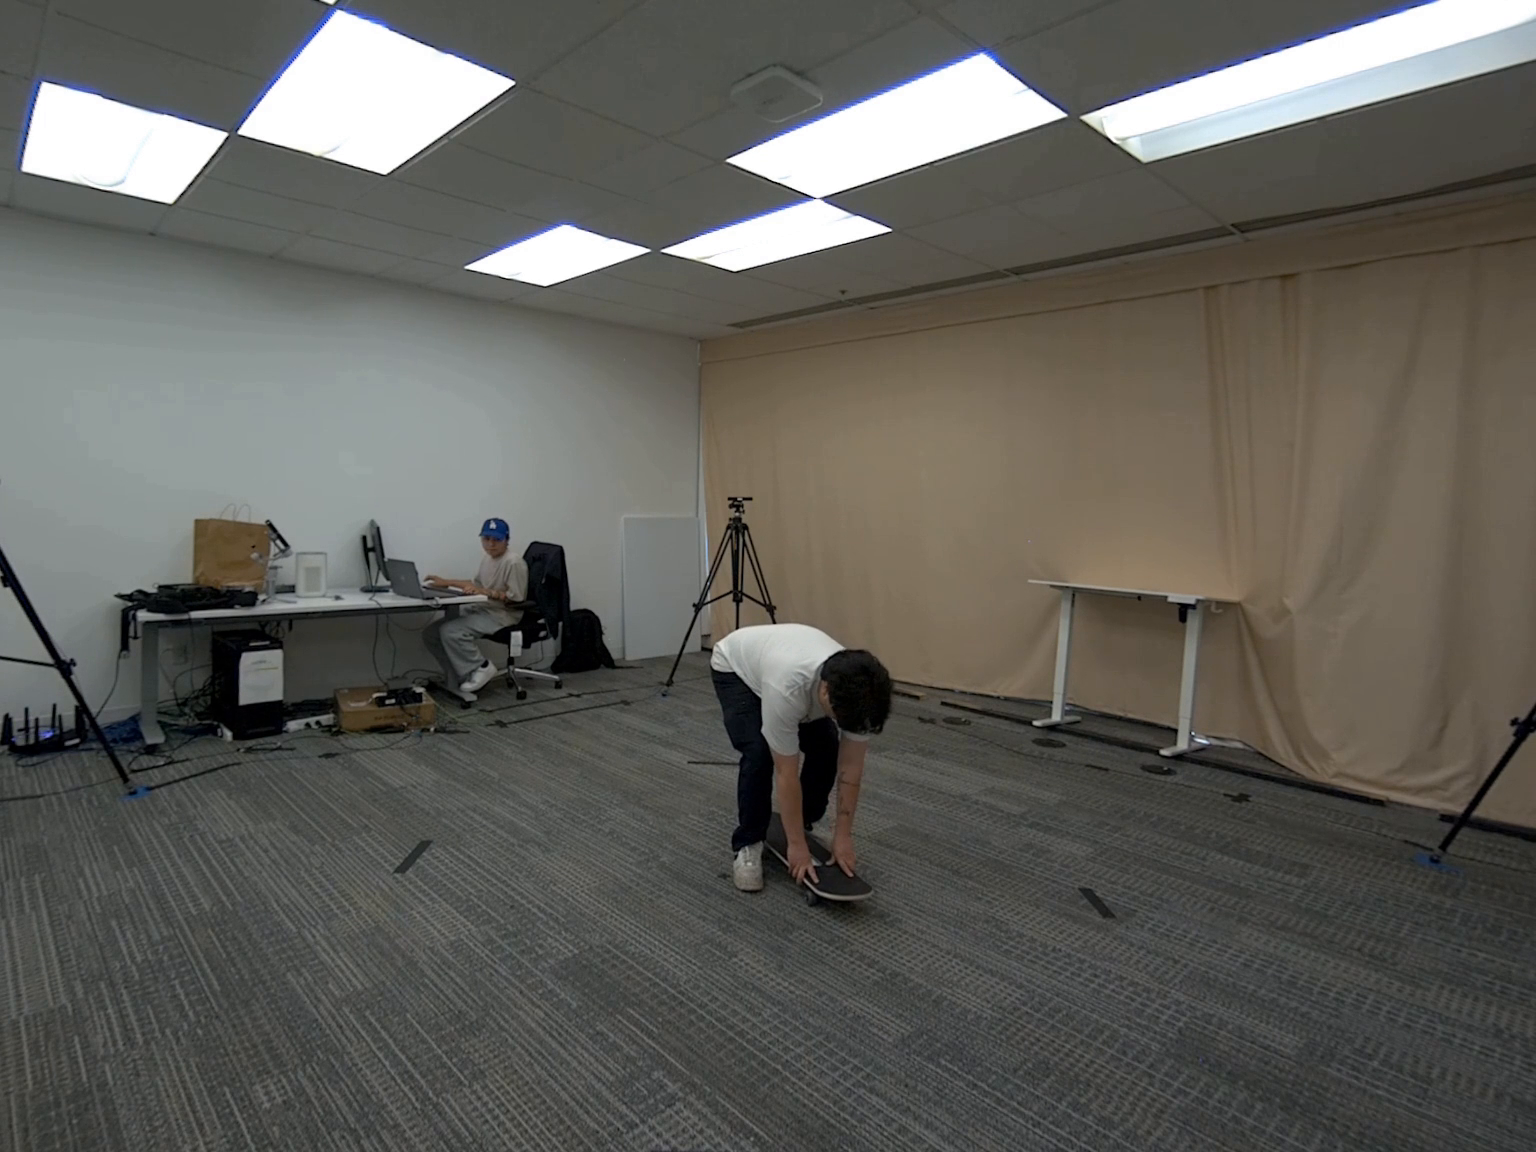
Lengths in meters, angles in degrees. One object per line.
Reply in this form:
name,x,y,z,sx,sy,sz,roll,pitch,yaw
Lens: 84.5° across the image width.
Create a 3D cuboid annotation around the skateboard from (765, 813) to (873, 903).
skateboard,0.126,1.064,3.104,0.190,0.110,0.800,-1,5,-23
